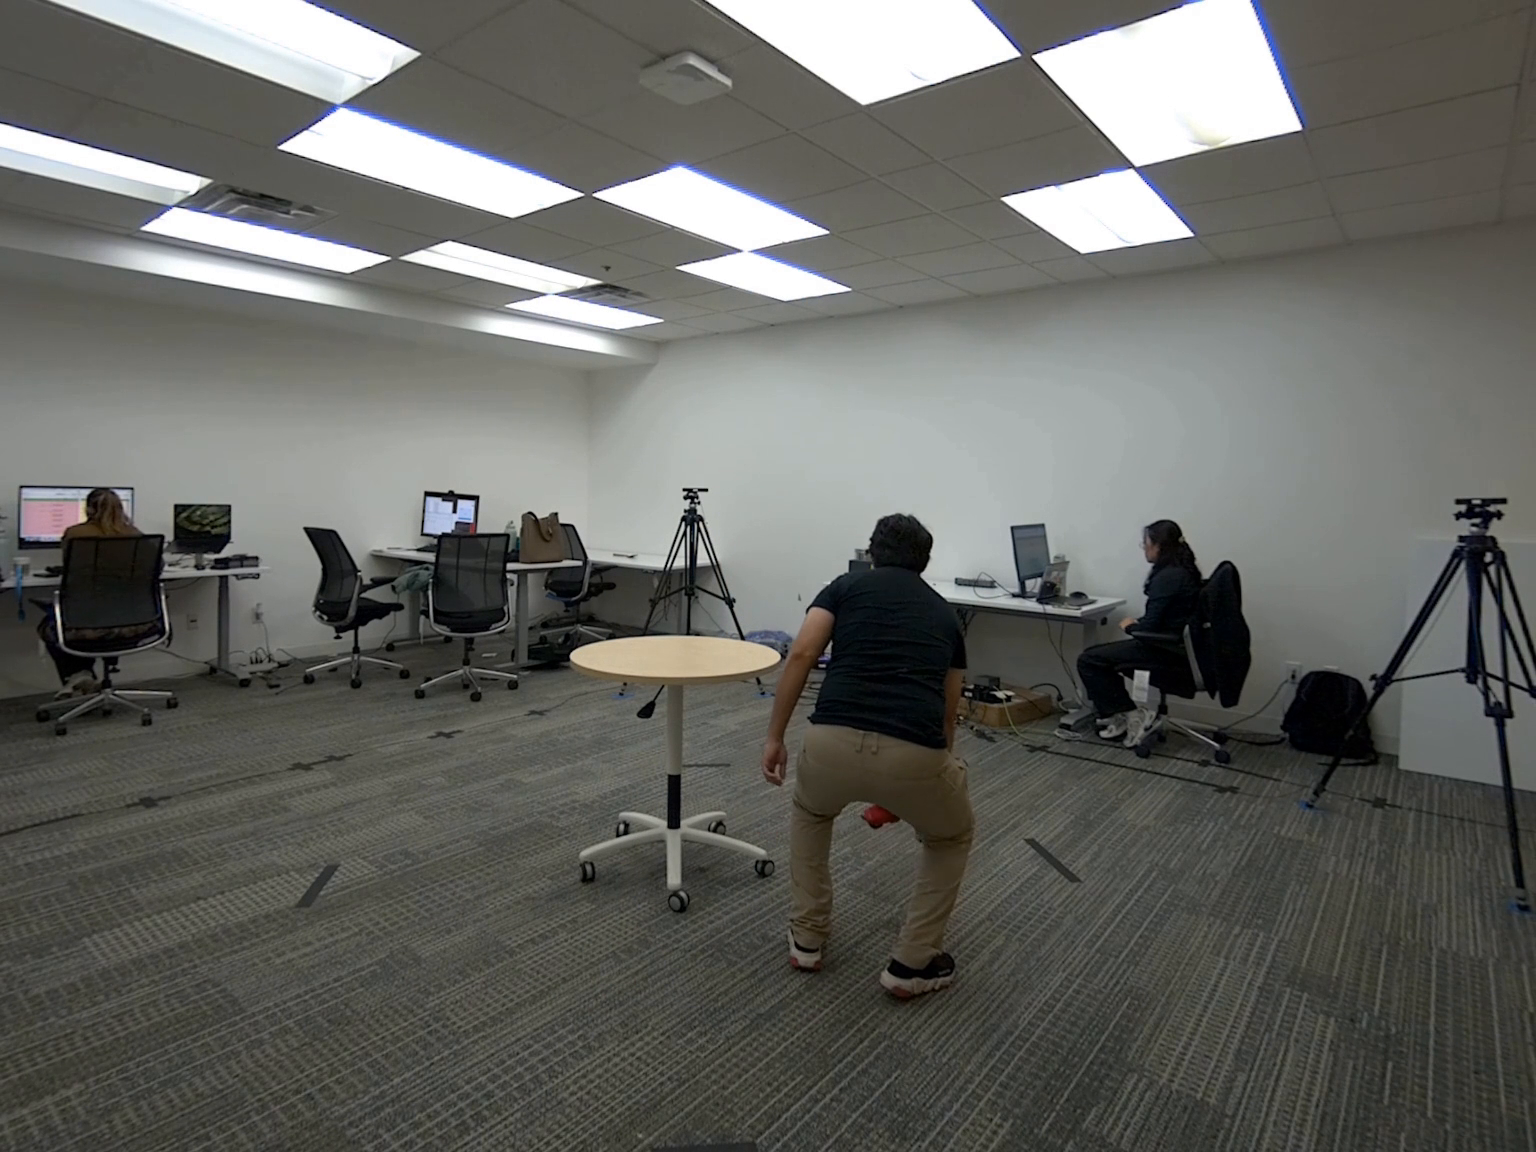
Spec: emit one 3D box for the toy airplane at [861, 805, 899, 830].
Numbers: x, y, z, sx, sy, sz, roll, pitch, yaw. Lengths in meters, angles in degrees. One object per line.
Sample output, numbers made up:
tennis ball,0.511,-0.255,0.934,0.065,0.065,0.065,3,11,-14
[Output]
toy airplane,0.446,0.769,2.827,0.266,0.156,0.245,-1,1,28
